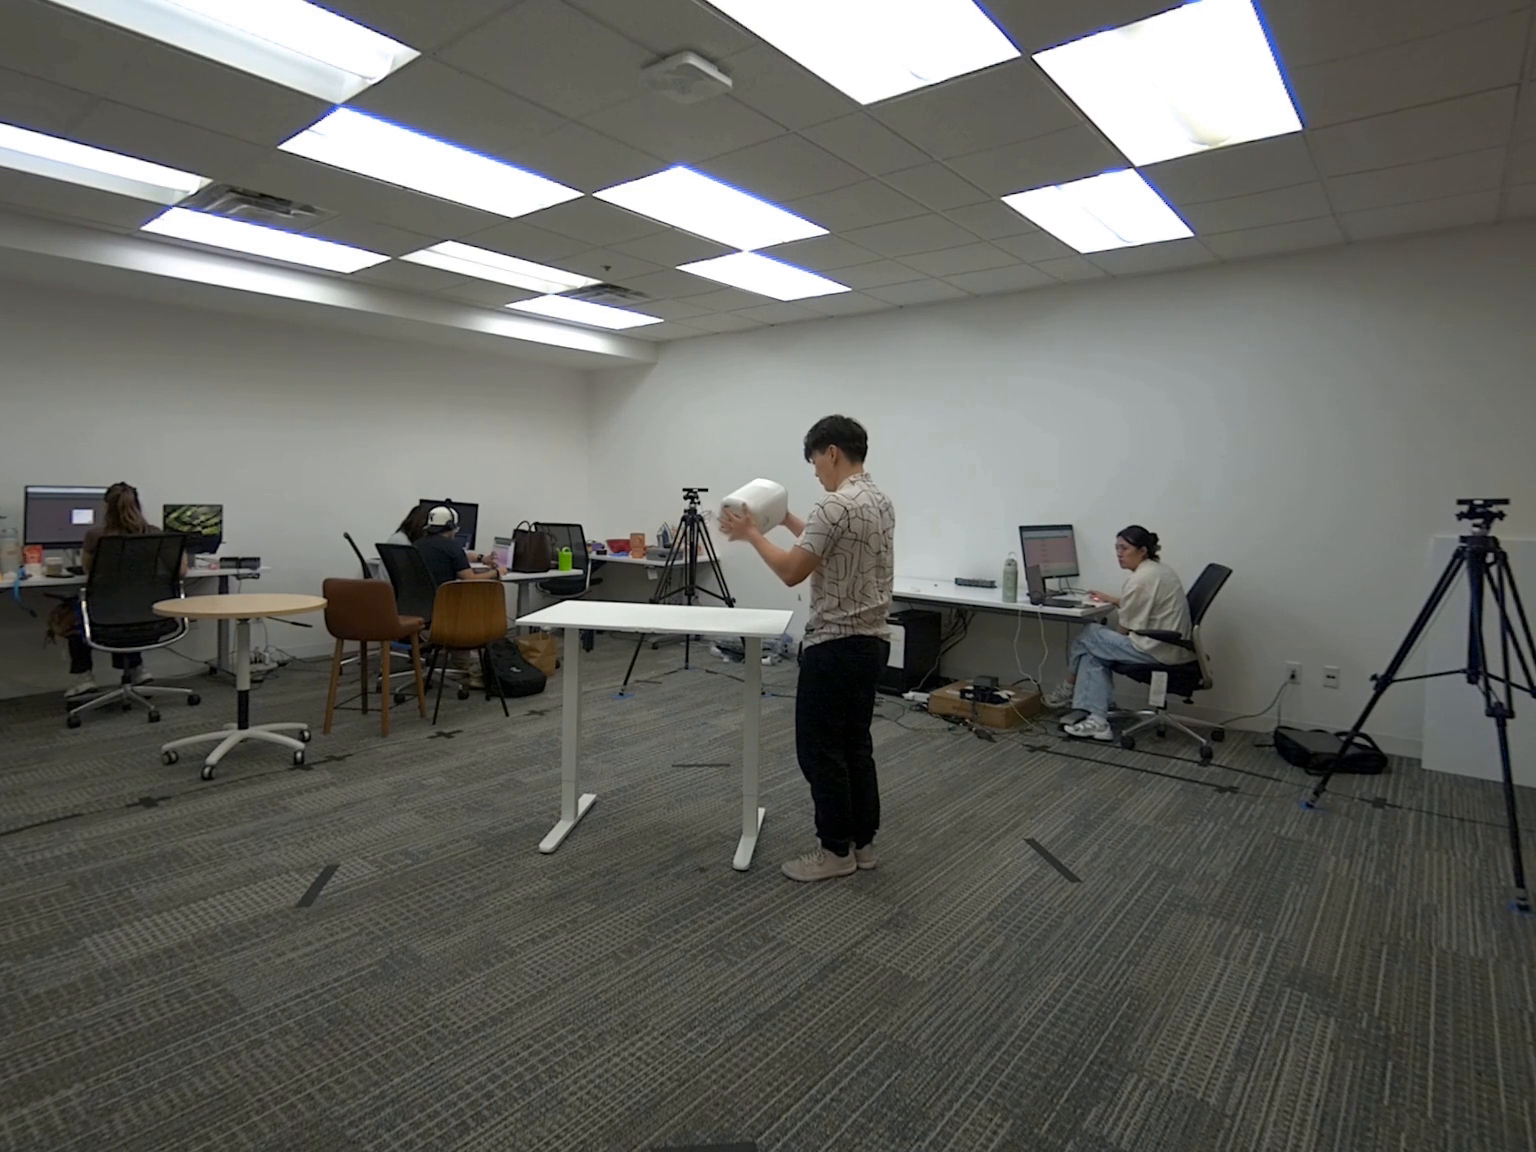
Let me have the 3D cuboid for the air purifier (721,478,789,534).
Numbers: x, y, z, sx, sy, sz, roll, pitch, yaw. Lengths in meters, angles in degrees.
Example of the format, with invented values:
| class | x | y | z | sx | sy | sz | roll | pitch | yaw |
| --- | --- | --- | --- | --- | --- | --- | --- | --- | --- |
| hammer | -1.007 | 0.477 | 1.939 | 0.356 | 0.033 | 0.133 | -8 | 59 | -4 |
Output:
| class | x | y | z | sx | sy | sz | roll | pitch | yaw |
| --- | --- | --- | --- | --- | --- | --- | --- | --- | --- |
| air purifier | -0.068 | -0.248 | 3.268 | 0.176 | 0.167 | 0.264 | 16 | 29 | 21 |
